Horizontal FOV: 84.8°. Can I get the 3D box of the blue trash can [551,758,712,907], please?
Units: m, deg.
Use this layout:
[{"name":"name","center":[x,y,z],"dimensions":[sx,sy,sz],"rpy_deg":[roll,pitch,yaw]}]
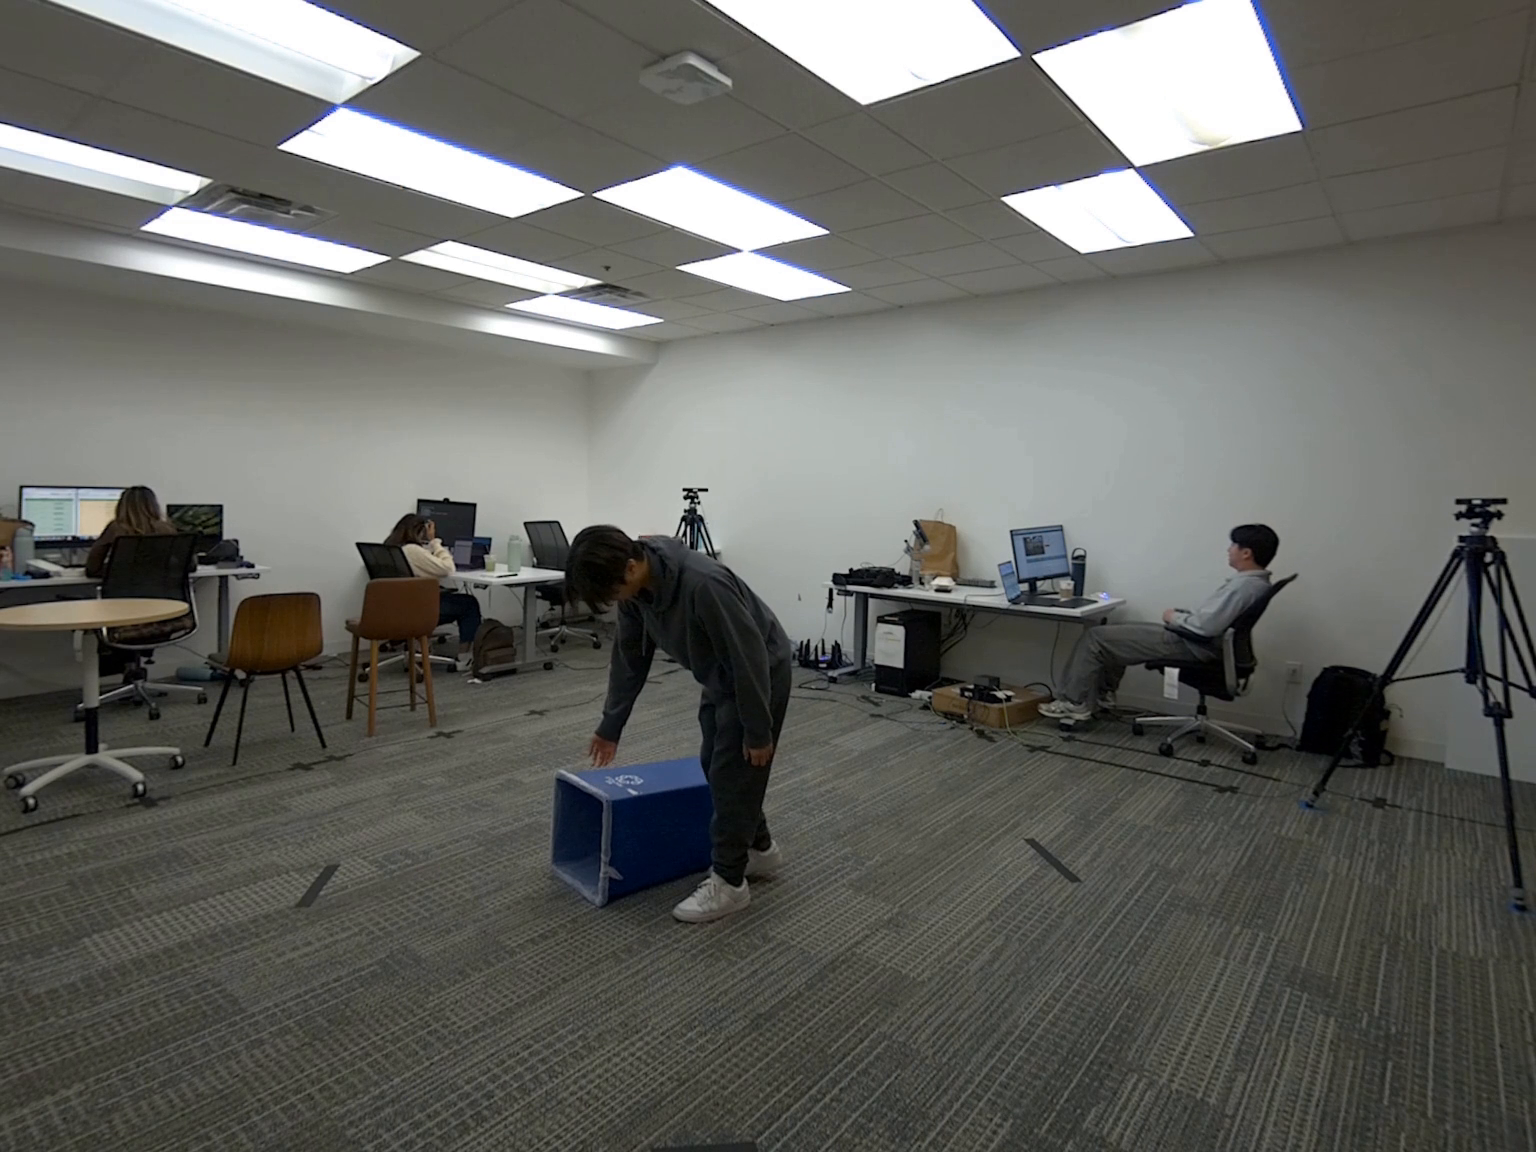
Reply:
[{"name":"blue trash can","center":[-0.413,0.892,3.155],"dimensions":[0.691,0.377,0.387],"rpy_deg":[1,3,-41]}]
